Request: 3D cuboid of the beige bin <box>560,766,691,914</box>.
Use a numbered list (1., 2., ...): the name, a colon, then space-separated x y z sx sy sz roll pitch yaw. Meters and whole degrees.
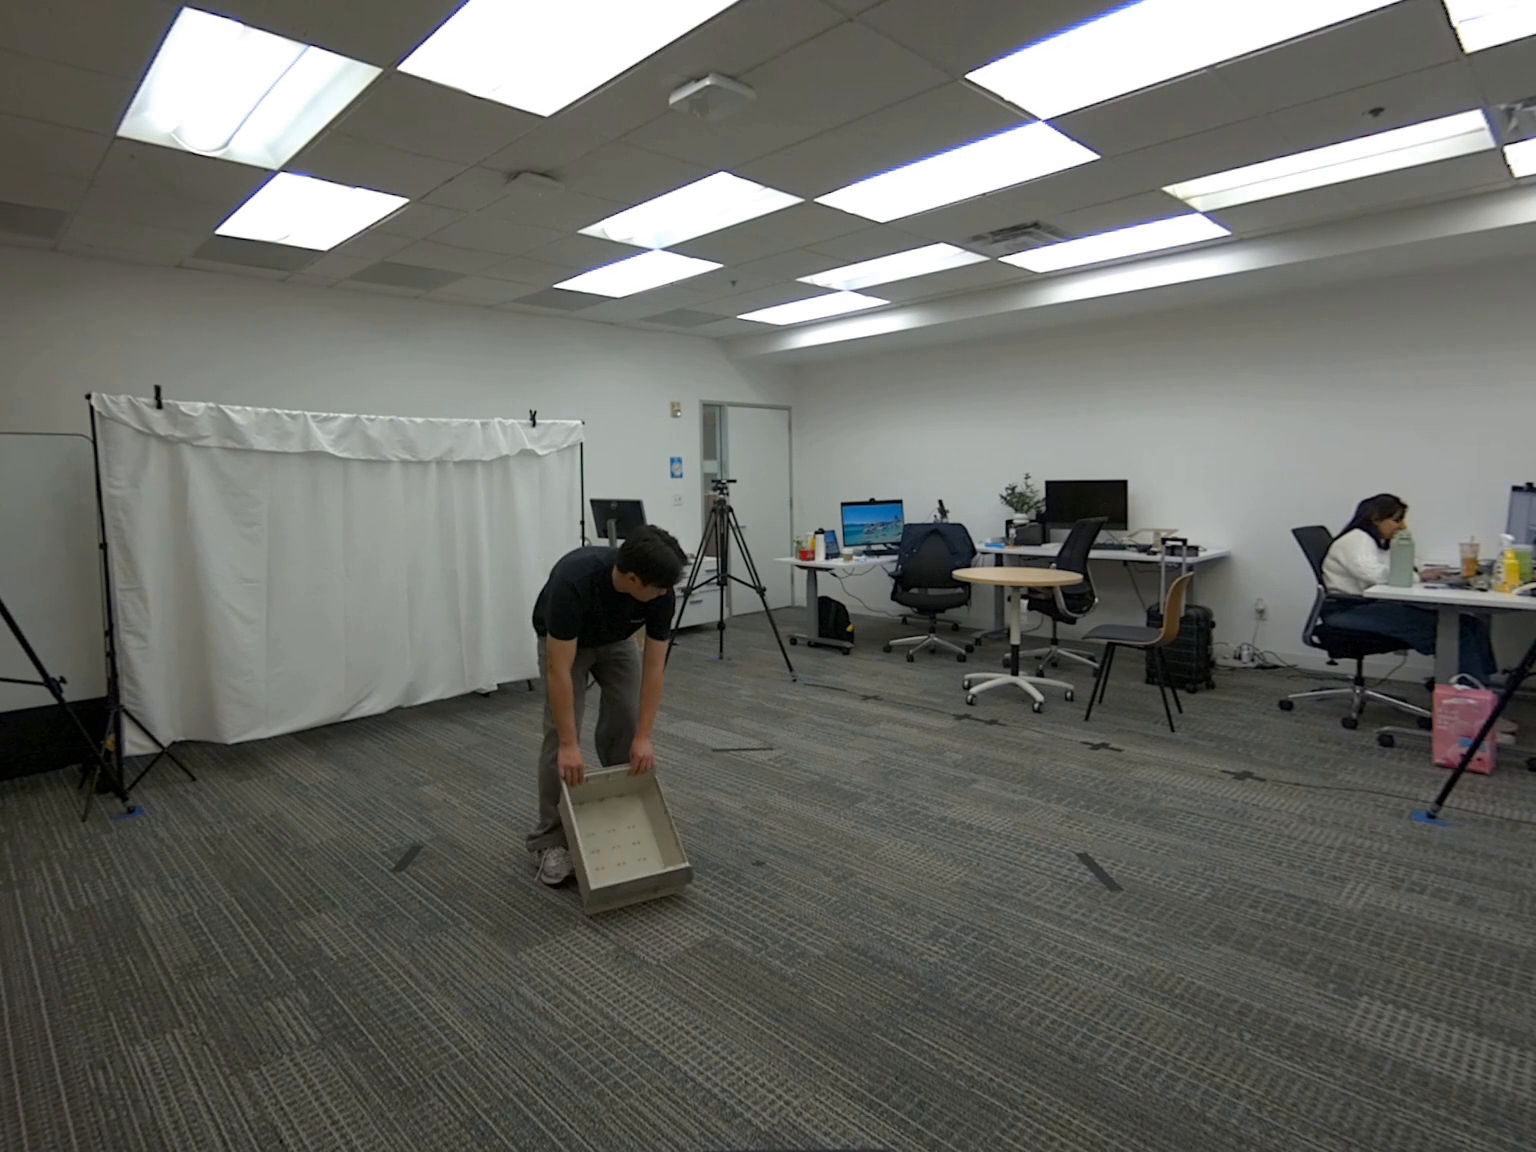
1. beige bin: -0.484 0.874 2.926 0.369 0.186 0.438 -5 44 -26
